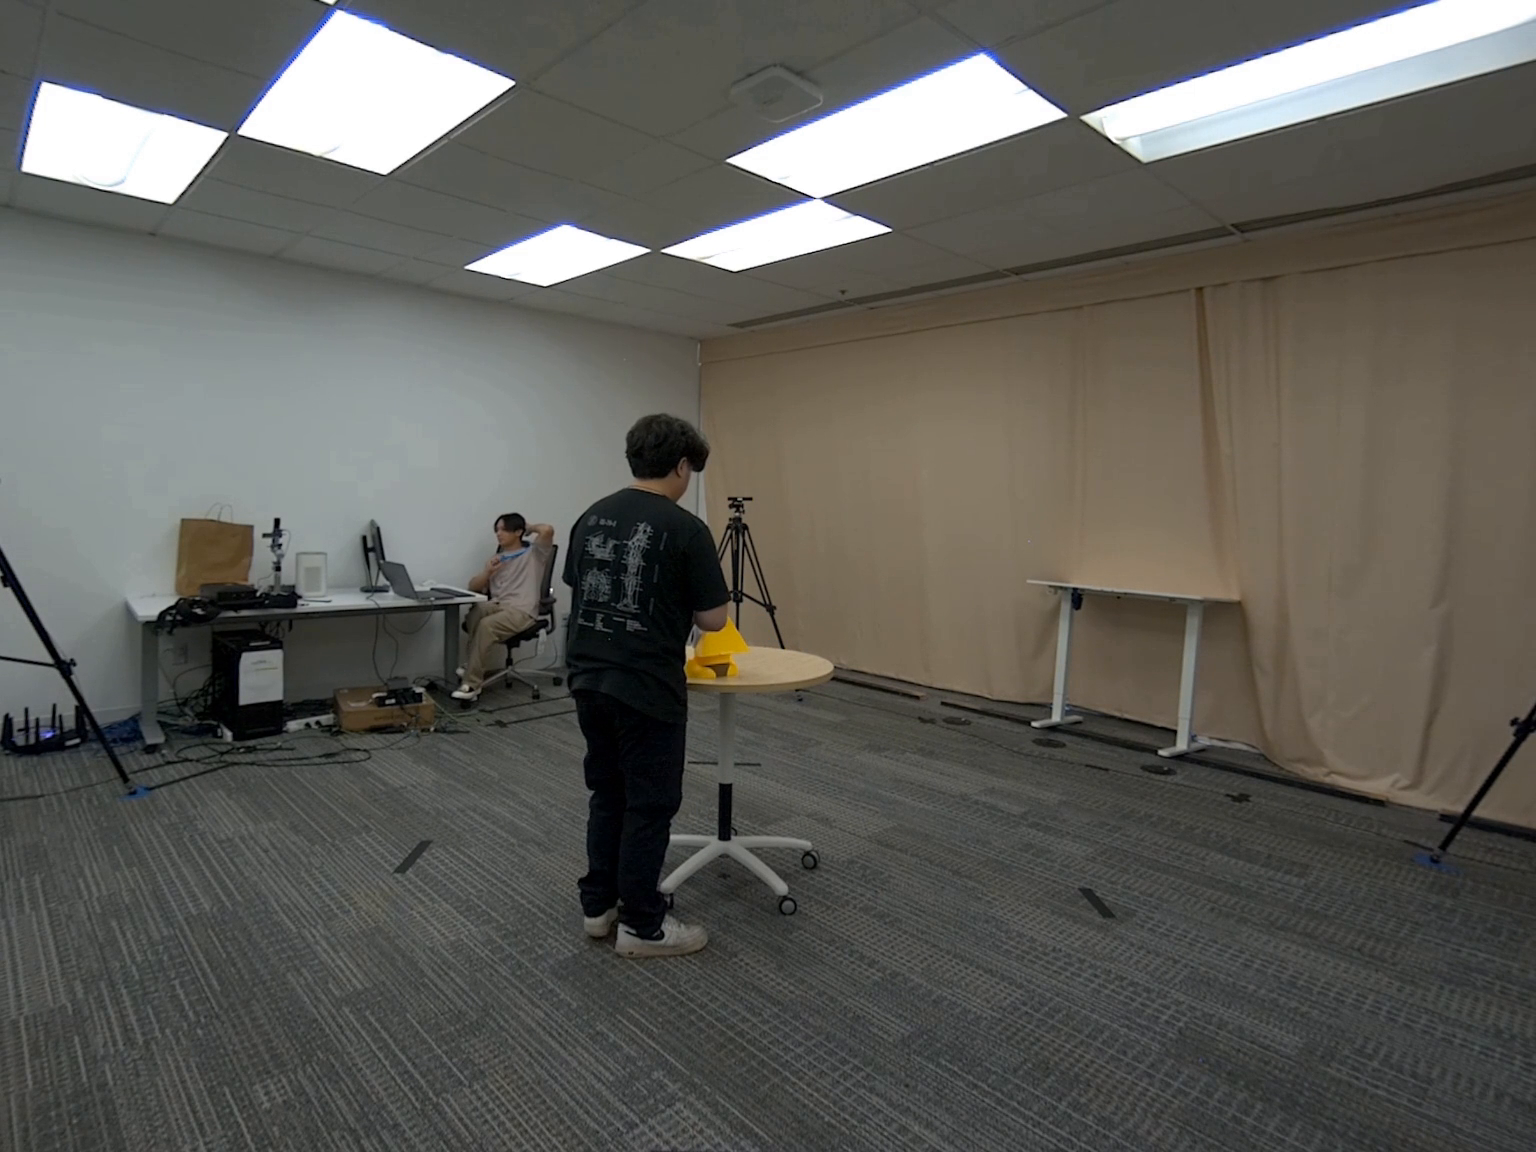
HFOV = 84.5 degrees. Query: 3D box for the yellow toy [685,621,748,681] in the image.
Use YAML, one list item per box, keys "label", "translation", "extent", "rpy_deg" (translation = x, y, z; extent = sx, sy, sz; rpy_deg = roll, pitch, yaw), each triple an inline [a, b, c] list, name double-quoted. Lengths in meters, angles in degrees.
- label: "yellow toy"
  translation: [-0.202, 0.220, 2.862]
  extent: [0.200, 0.230, 0.198]
  rpy_deg: [-1, 4, -36]
